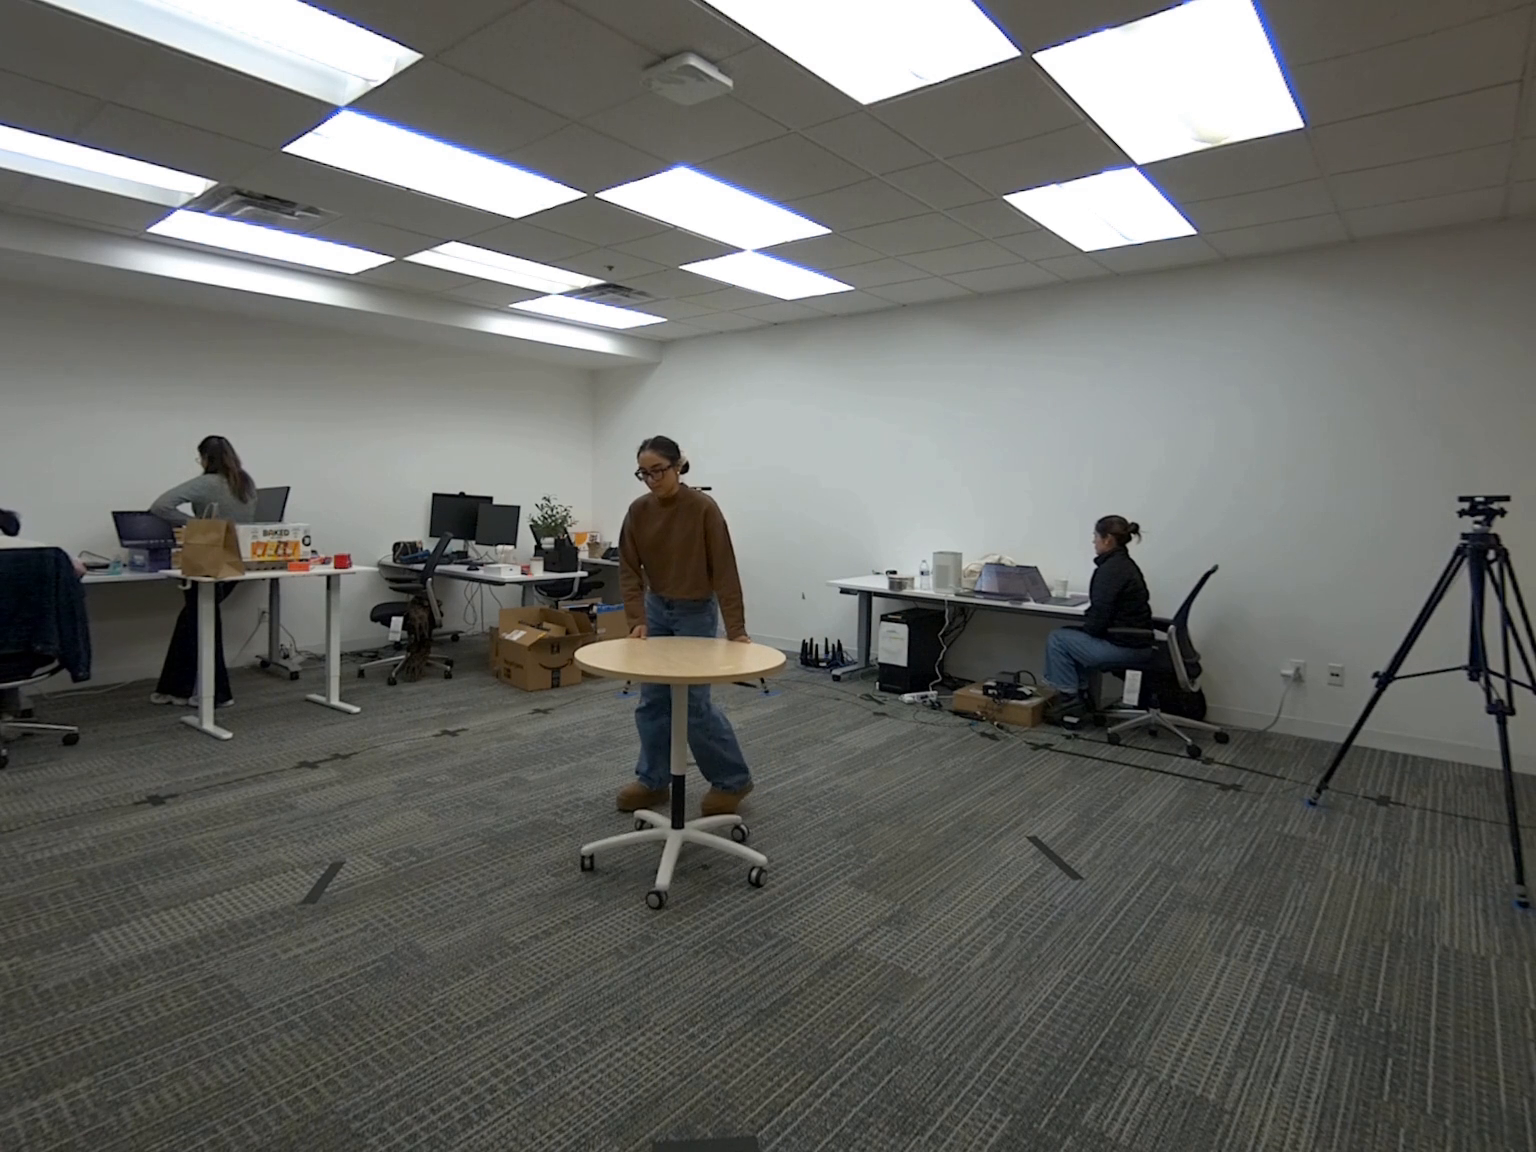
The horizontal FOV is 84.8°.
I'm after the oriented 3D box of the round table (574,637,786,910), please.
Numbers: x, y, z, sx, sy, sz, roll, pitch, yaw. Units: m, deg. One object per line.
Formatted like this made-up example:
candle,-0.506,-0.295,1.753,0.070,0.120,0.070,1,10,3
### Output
round table,-0.322,0.667,3.121,0.784,0.784,0.788,1,4,-2
